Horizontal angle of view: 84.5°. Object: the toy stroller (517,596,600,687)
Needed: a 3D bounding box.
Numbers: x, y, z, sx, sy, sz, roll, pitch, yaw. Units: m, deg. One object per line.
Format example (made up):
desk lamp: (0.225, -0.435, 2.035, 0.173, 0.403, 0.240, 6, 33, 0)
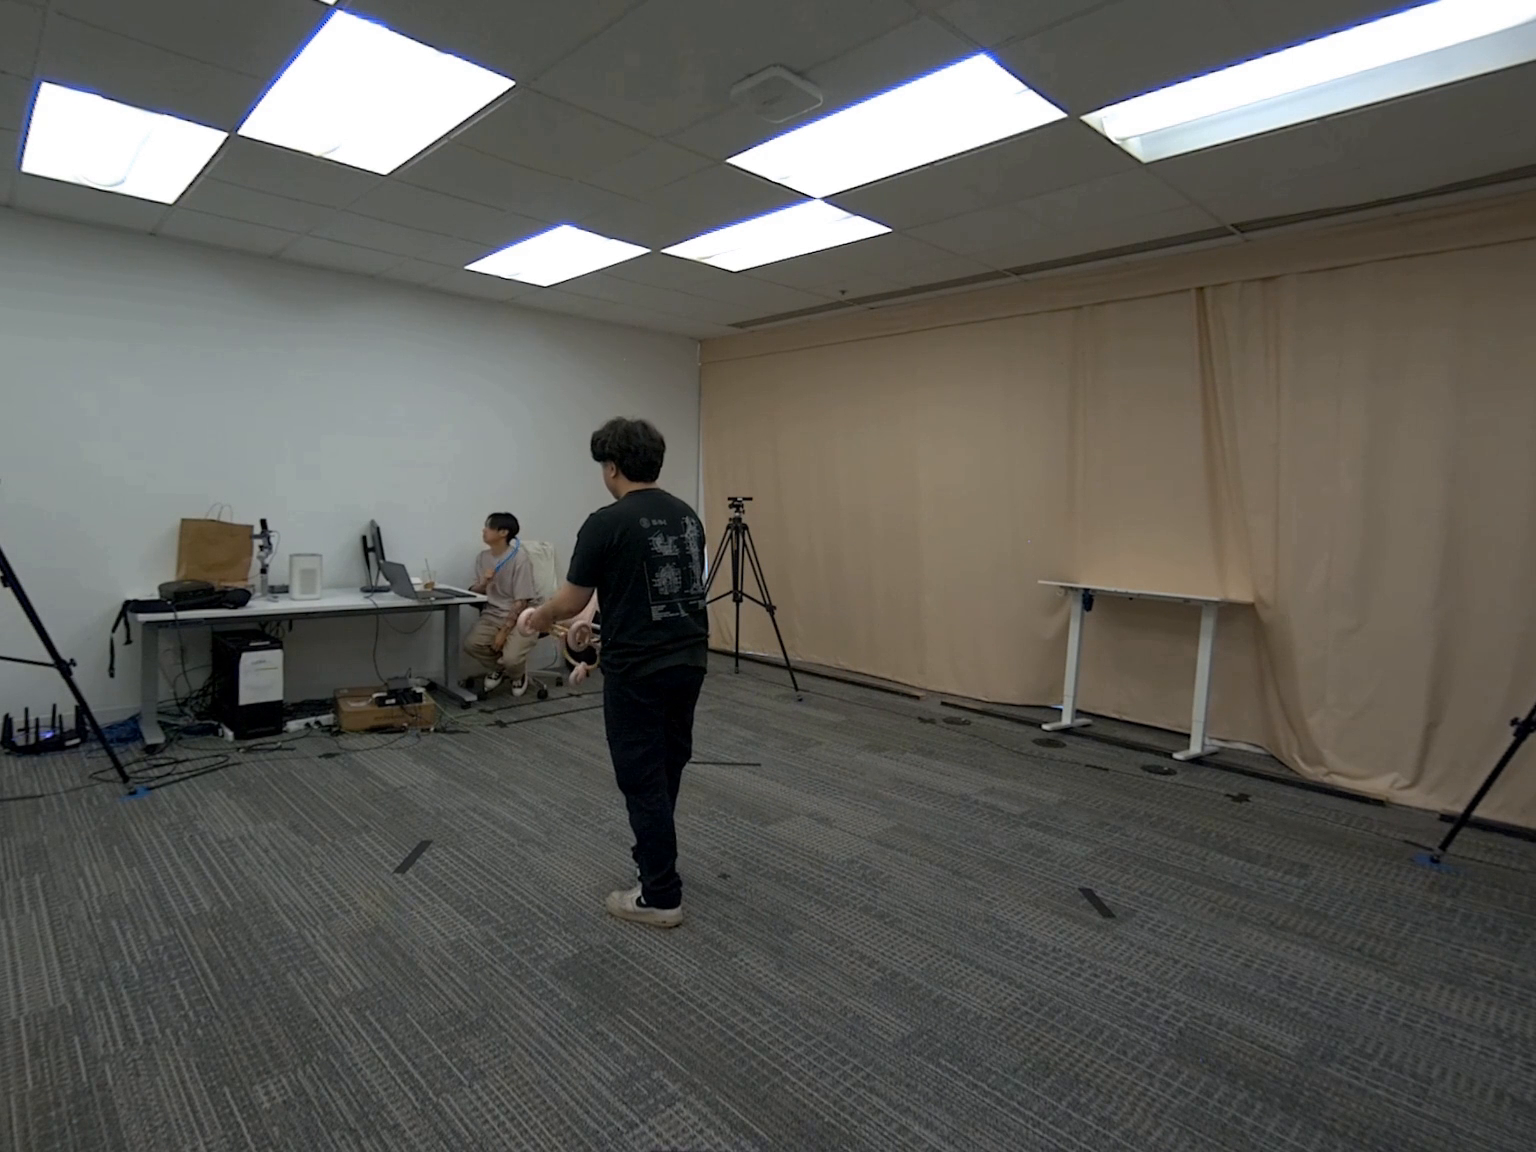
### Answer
toy stroller: (-0.684, 0.129, 3.212, 0.288, 0.539, 0.330, 7, -31, 33)
